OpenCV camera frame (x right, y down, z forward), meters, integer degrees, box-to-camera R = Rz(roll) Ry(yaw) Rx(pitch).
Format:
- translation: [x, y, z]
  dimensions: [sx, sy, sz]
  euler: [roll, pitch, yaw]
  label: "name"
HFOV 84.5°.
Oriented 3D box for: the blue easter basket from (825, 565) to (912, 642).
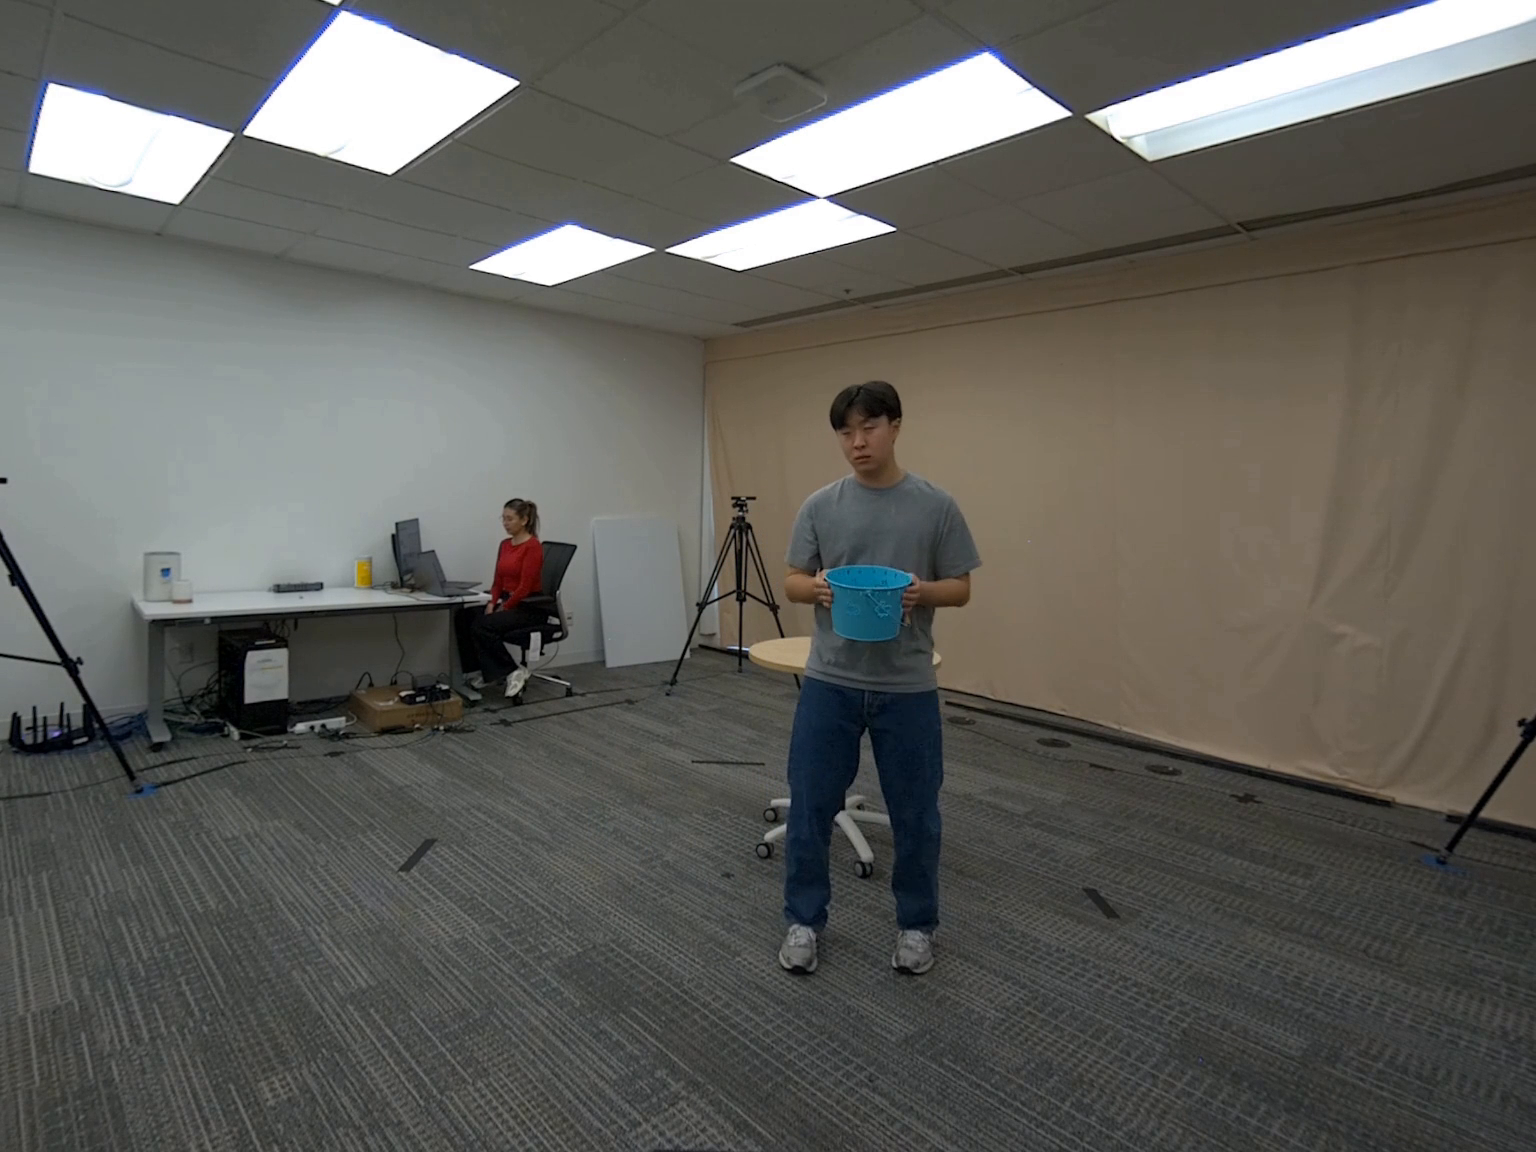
- translation: [0.272, 0.076, 2.305]
  dimensions: [0.243, 0.154, 0.246]
  euler: [0, 13, -1]
  label: "blue easter basket"
